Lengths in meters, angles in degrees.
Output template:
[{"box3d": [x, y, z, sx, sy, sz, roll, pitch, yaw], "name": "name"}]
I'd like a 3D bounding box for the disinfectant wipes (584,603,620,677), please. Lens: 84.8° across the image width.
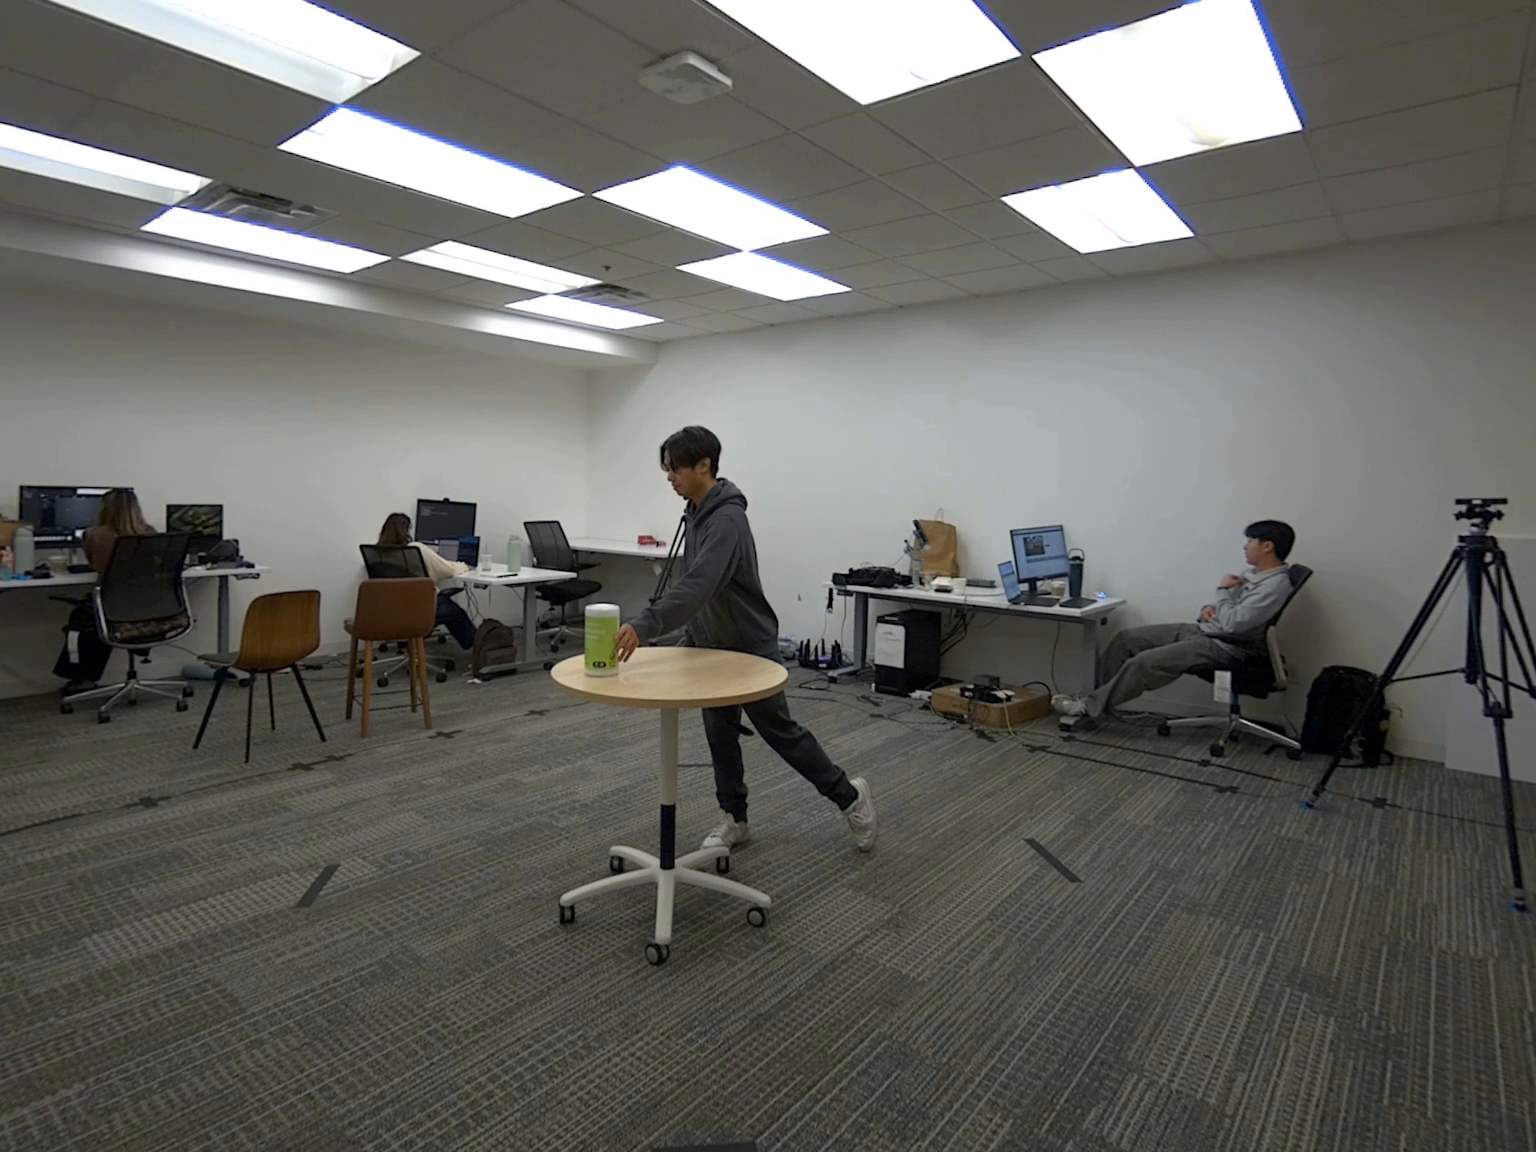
[{"box3d": [-0.535, 0.201, 2.694, 0.117, 0.216, 0.118, 1, 5, -2], "name": "disinfectant wipes"}]
